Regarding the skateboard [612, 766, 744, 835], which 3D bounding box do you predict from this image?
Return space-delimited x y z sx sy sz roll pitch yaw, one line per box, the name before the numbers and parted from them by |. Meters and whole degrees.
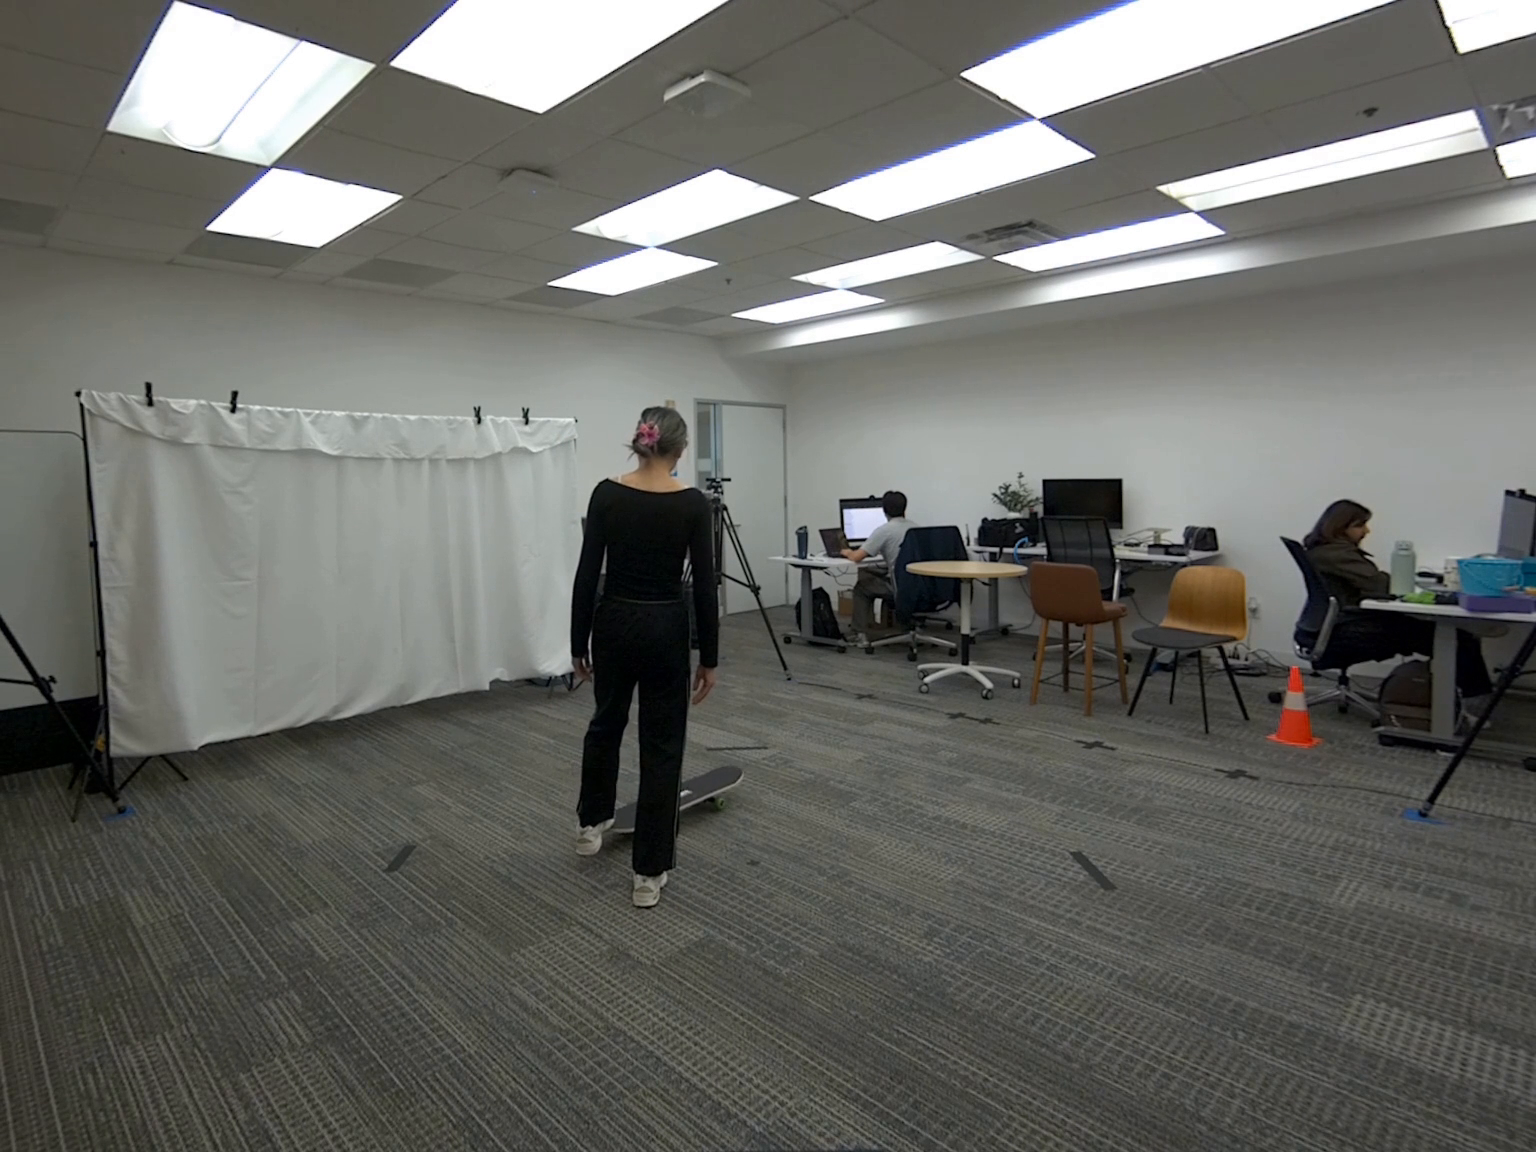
skateboard | -0.391 0.940 3.503 0.199 0.110 0.766 4 10 41
